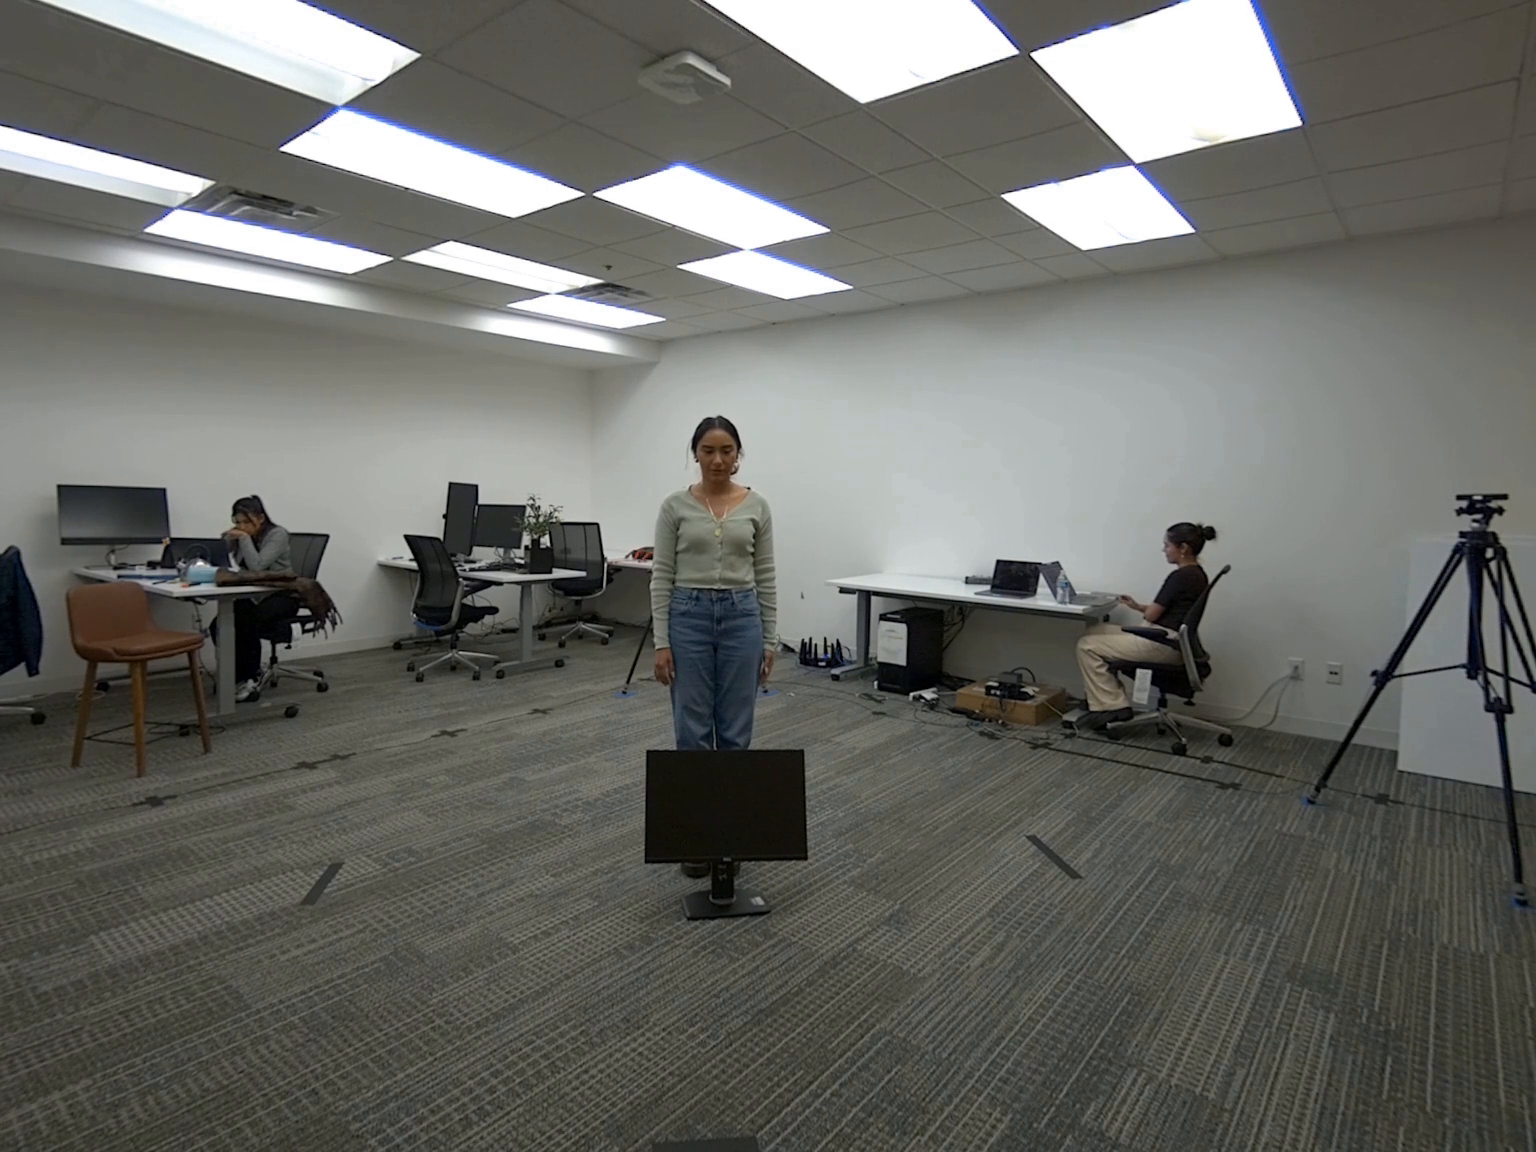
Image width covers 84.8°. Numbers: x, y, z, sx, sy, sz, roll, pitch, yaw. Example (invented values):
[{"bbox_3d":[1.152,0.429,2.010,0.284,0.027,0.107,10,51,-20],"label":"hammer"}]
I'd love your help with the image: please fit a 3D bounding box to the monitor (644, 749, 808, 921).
[{"bbox_3d":[-0.150,0.837,2.832,0.525,0.514,0.177,1,3,-9],"label":"monitor"}]
